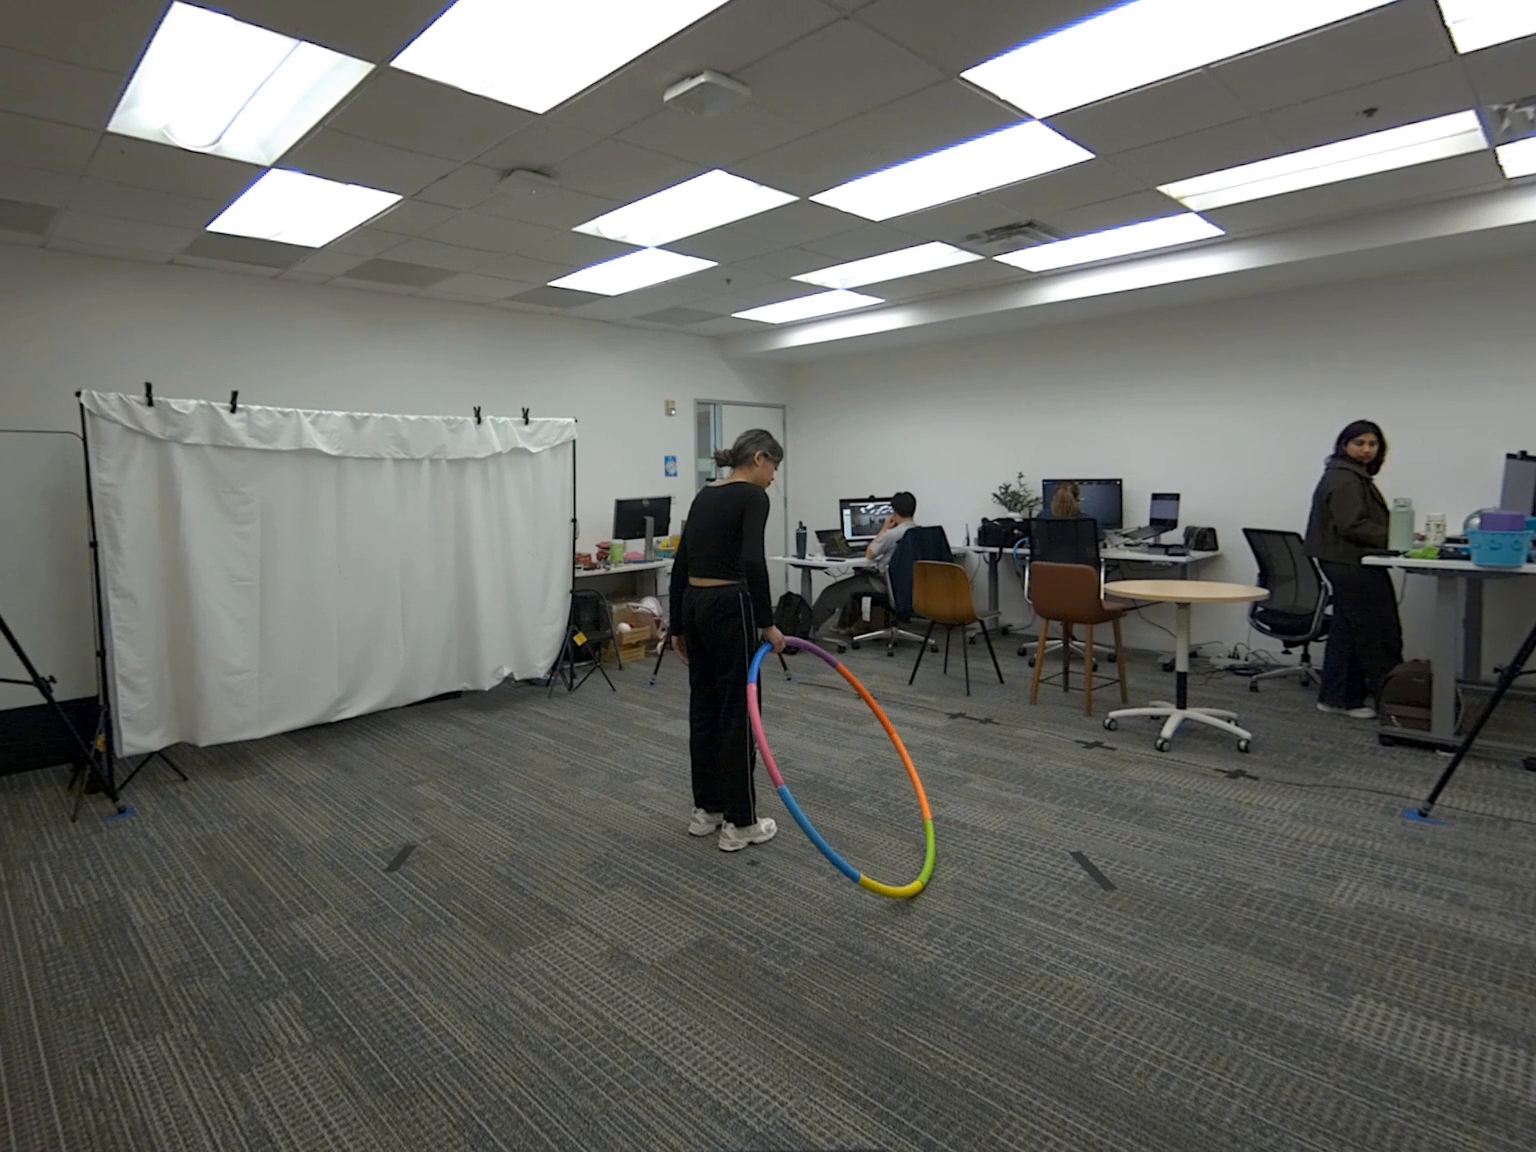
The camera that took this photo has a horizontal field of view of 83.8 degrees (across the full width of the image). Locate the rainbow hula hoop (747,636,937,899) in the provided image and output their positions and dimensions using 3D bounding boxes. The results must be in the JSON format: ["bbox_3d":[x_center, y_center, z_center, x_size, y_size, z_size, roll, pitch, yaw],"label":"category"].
[{"bbox_3d":[0.276,0.639,3.029,0.036,0.996,0.959,-40,-14,25],"label":"rainbow hula hoop"}]
